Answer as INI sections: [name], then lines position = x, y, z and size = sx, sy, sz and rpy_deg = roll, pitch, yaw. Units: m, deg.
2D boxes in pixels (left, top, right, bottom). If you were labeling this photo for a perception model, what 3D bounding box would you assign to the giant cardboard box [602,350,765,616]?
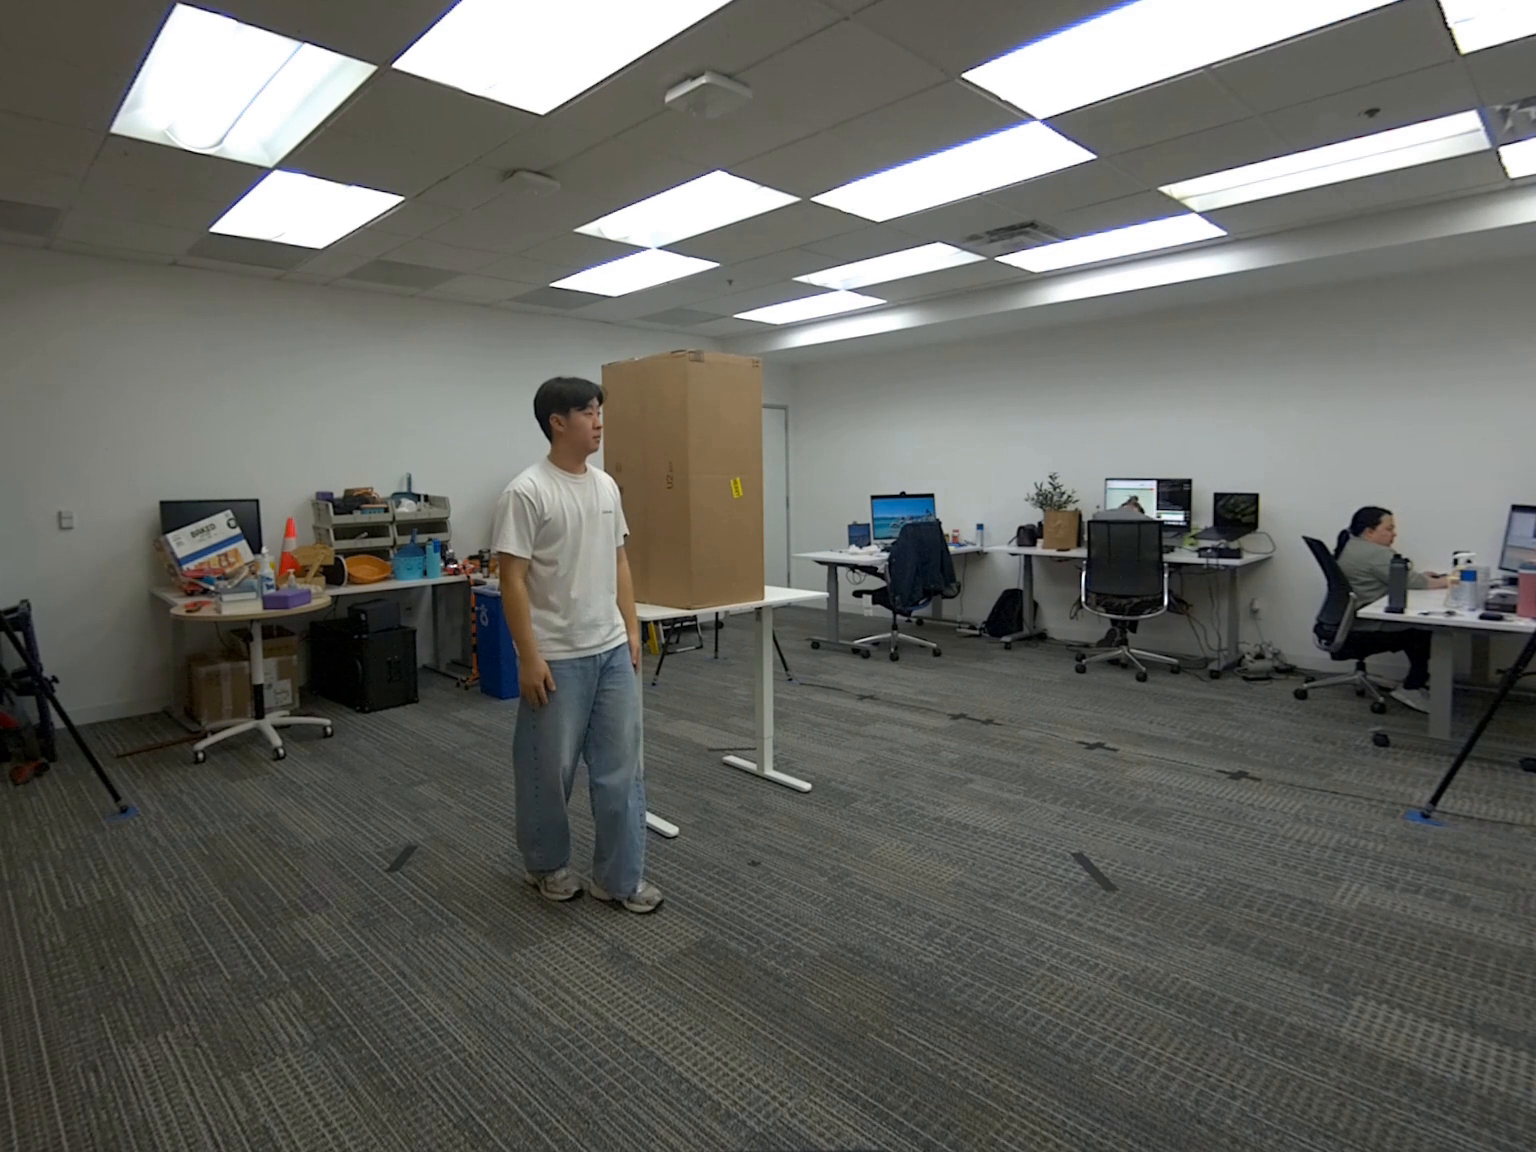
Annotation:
[giant cardboard box]
position = -0.369, -0.406, 3.692
size = 0.415, 1.023, 0.595
rpy_deg = -4, 5, -44
